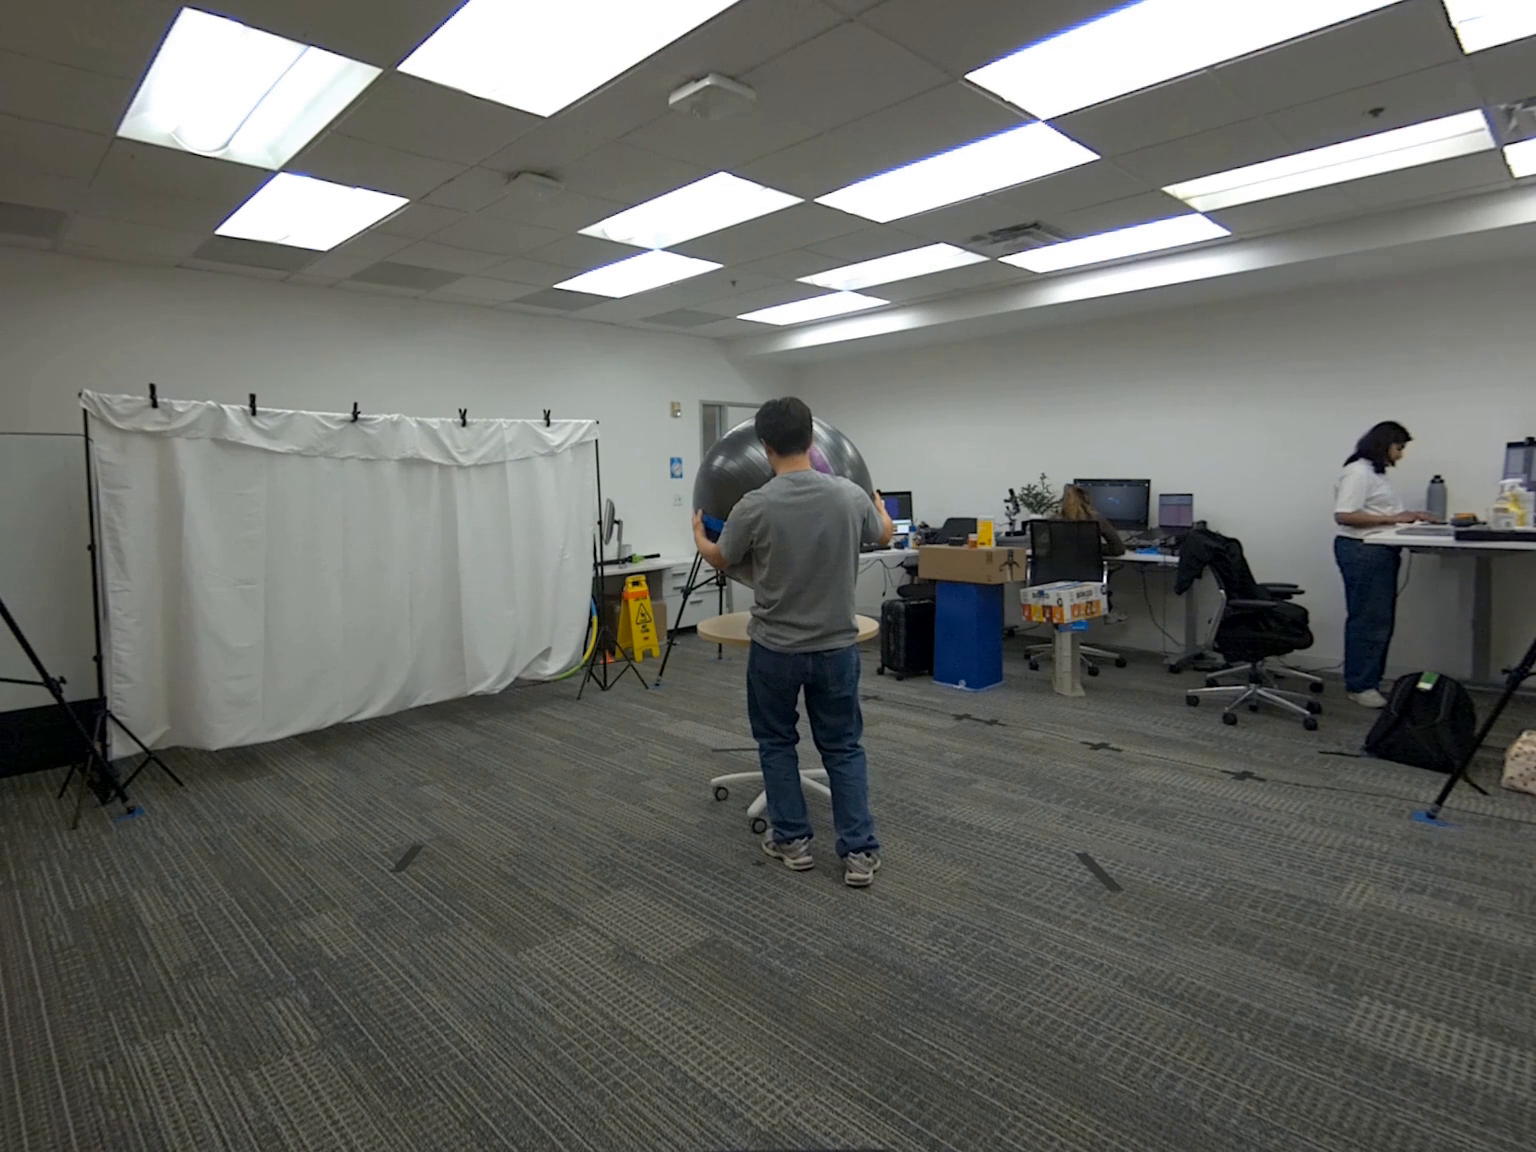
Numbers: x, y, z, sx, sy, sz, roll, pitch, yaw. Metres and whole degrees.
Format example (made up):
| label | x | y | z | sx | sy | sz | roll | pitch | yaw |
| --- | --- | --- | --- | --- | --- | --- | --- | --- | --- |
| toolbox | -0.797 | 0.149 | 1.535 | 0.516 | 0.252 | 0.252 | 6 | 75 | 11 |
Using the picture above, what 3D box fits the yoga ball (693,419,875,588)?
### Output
| label | x | y | z | sx | sy | sz | roll | pitch | yaw |
| --- | --- | --- | --- | --- | --- | --- | --- | --- | --- |
| yoga ball | 0.064 | -0.307 | 3.601 | 0.757 | 0.755 | 0.762 | -1 | 5 | -2 |
